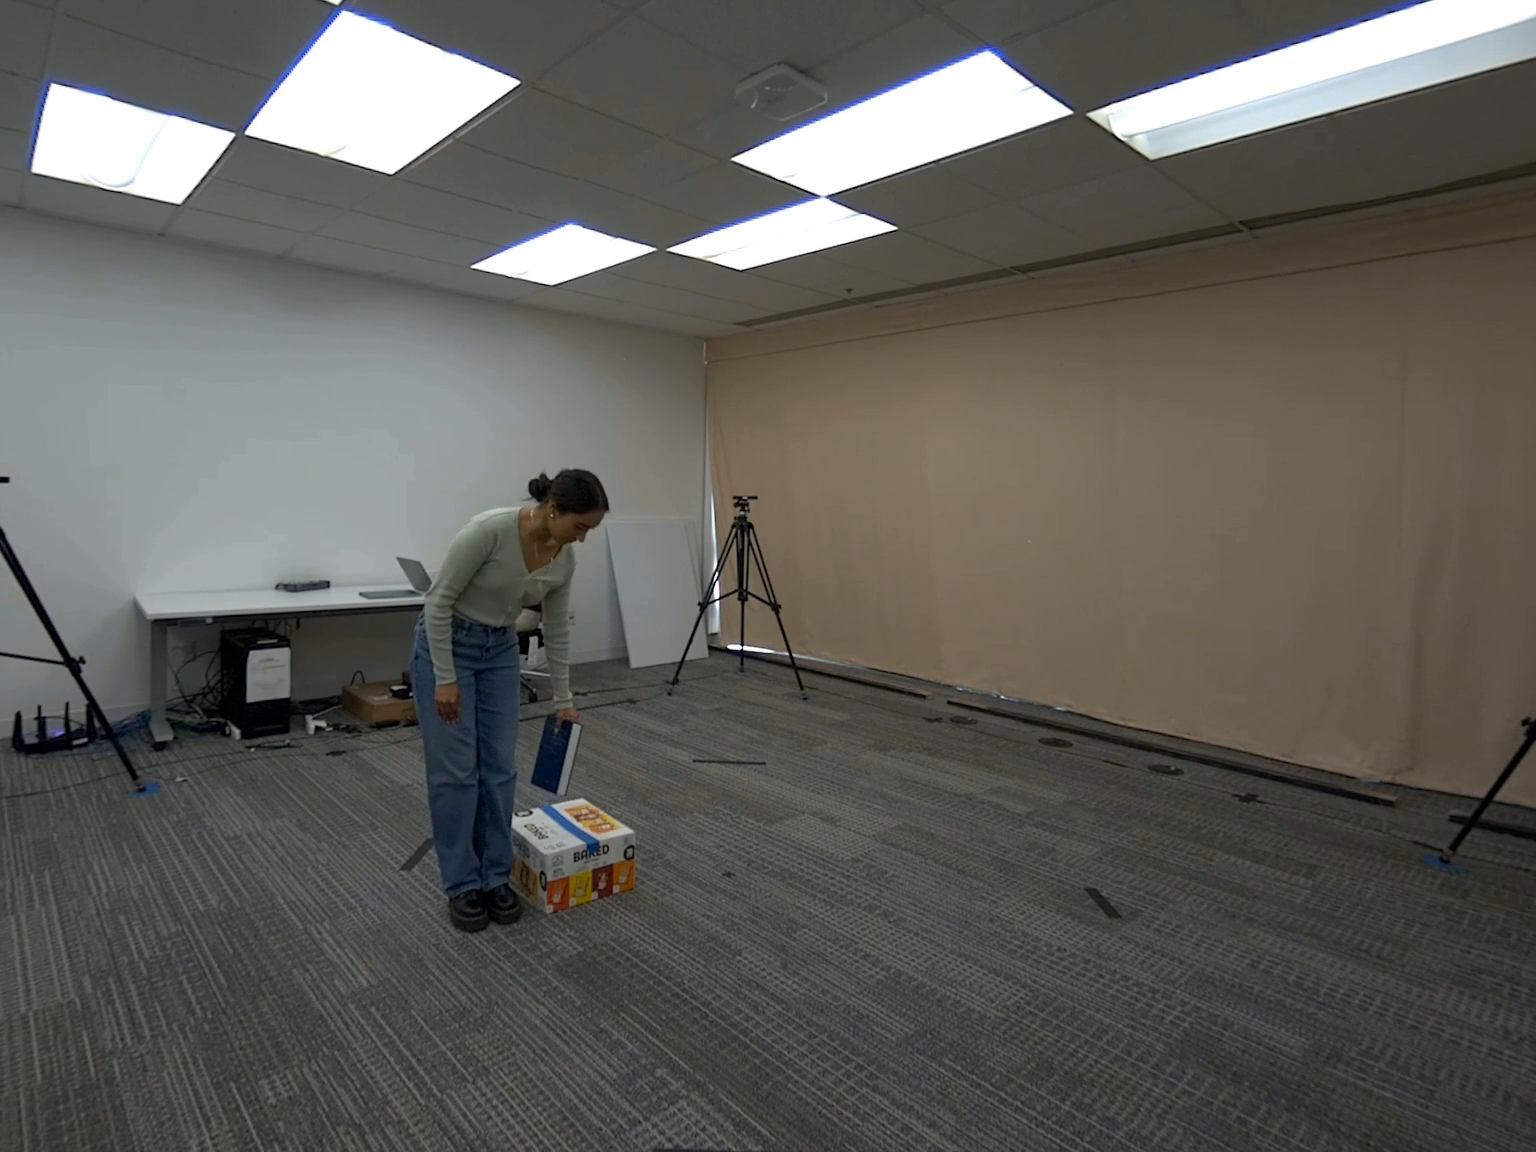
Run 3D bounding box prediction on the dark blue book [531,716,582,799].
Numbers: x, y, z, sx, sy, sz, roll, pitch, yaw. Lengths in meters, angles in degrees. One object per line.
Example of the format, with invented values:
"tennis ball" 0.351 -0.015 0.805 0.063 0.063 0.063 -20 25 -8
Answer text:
"dark blue book" -0.740 0.625 2.916 0.167 0.246 0.044 4 -11 43
